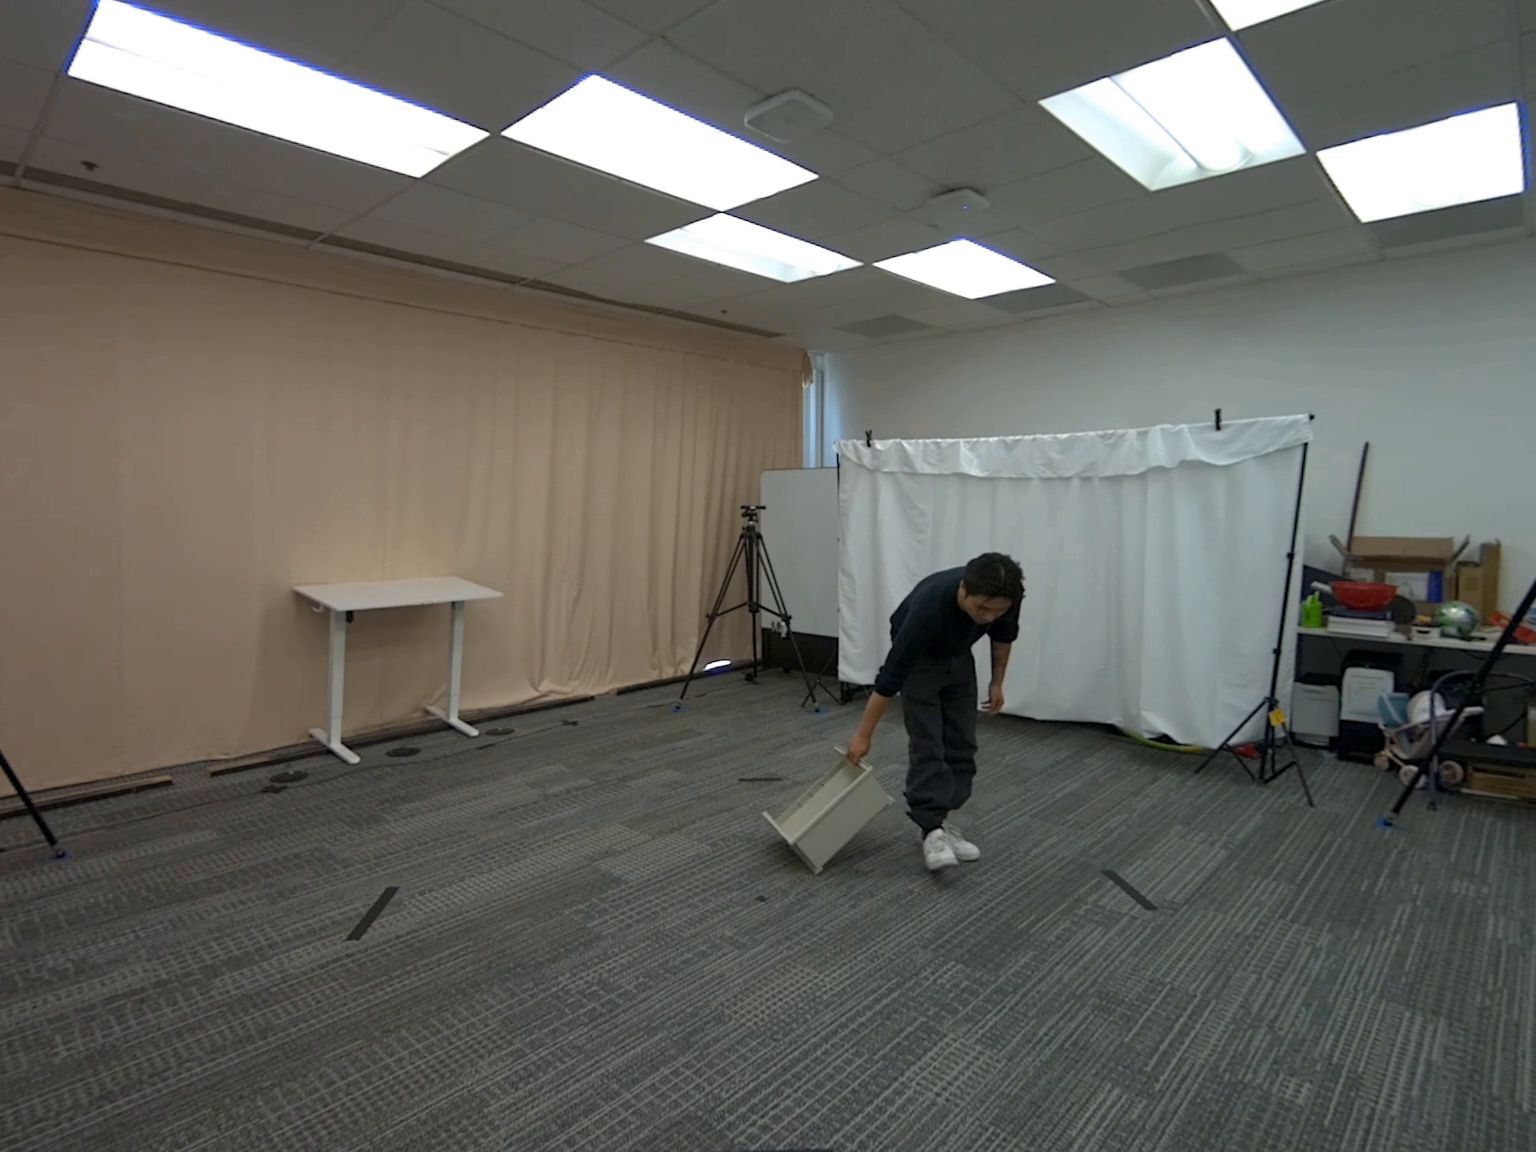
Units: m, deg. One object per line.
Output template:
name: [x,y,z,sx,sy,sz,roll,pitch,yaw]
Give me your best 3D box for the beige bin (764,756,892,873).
beige bin: [0.229,0.917,3.357,0.420,0.186,0.385,-40,15,-11]
